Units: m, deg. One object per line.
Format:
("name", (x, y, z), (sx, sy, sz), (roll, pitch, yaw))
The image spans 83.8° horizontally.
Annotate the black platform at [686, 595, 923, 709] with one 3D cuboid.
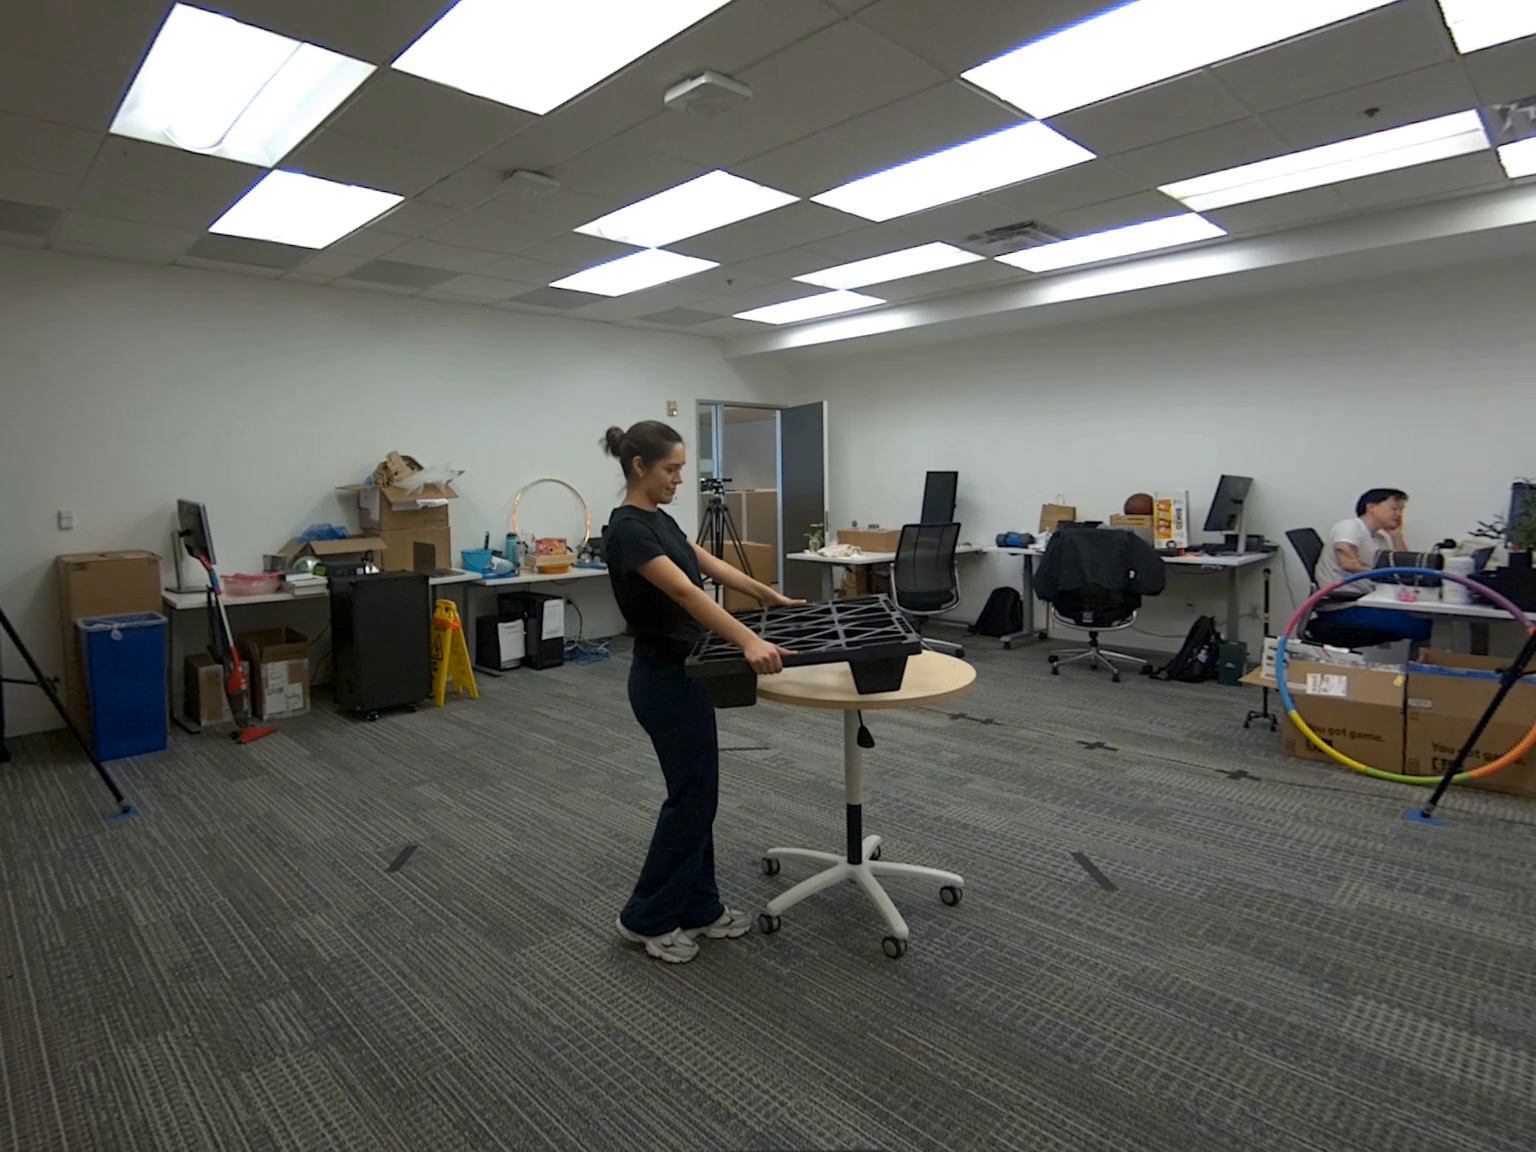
("black platform", (0.099, 0.210, 2.536), (0.607, 0.142, 0.807), (-7, 6, 3))
